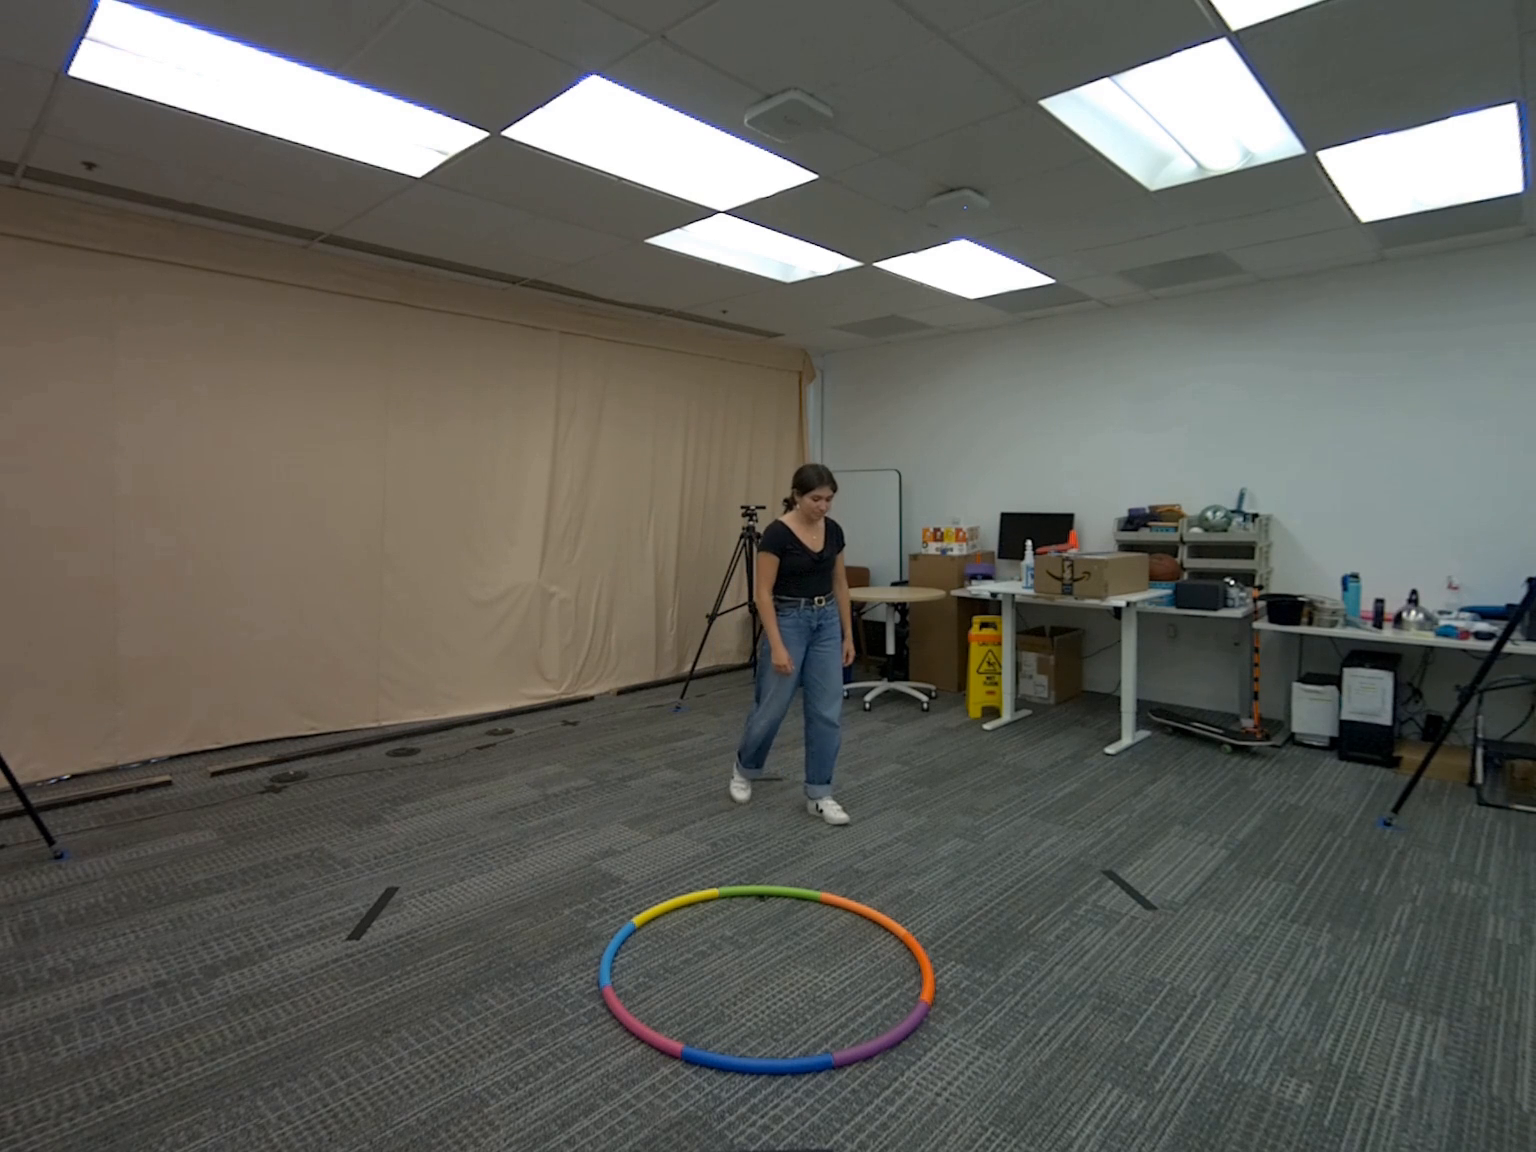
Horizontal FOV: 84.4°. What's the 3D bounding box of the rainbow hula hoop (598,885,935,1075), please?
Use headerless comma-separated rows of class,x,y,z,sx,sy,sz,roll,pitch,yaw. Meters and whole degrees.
rainbow hula hoop,-0.003,1.148,2.539,0.978,0.035,0.982,0,5,-2
